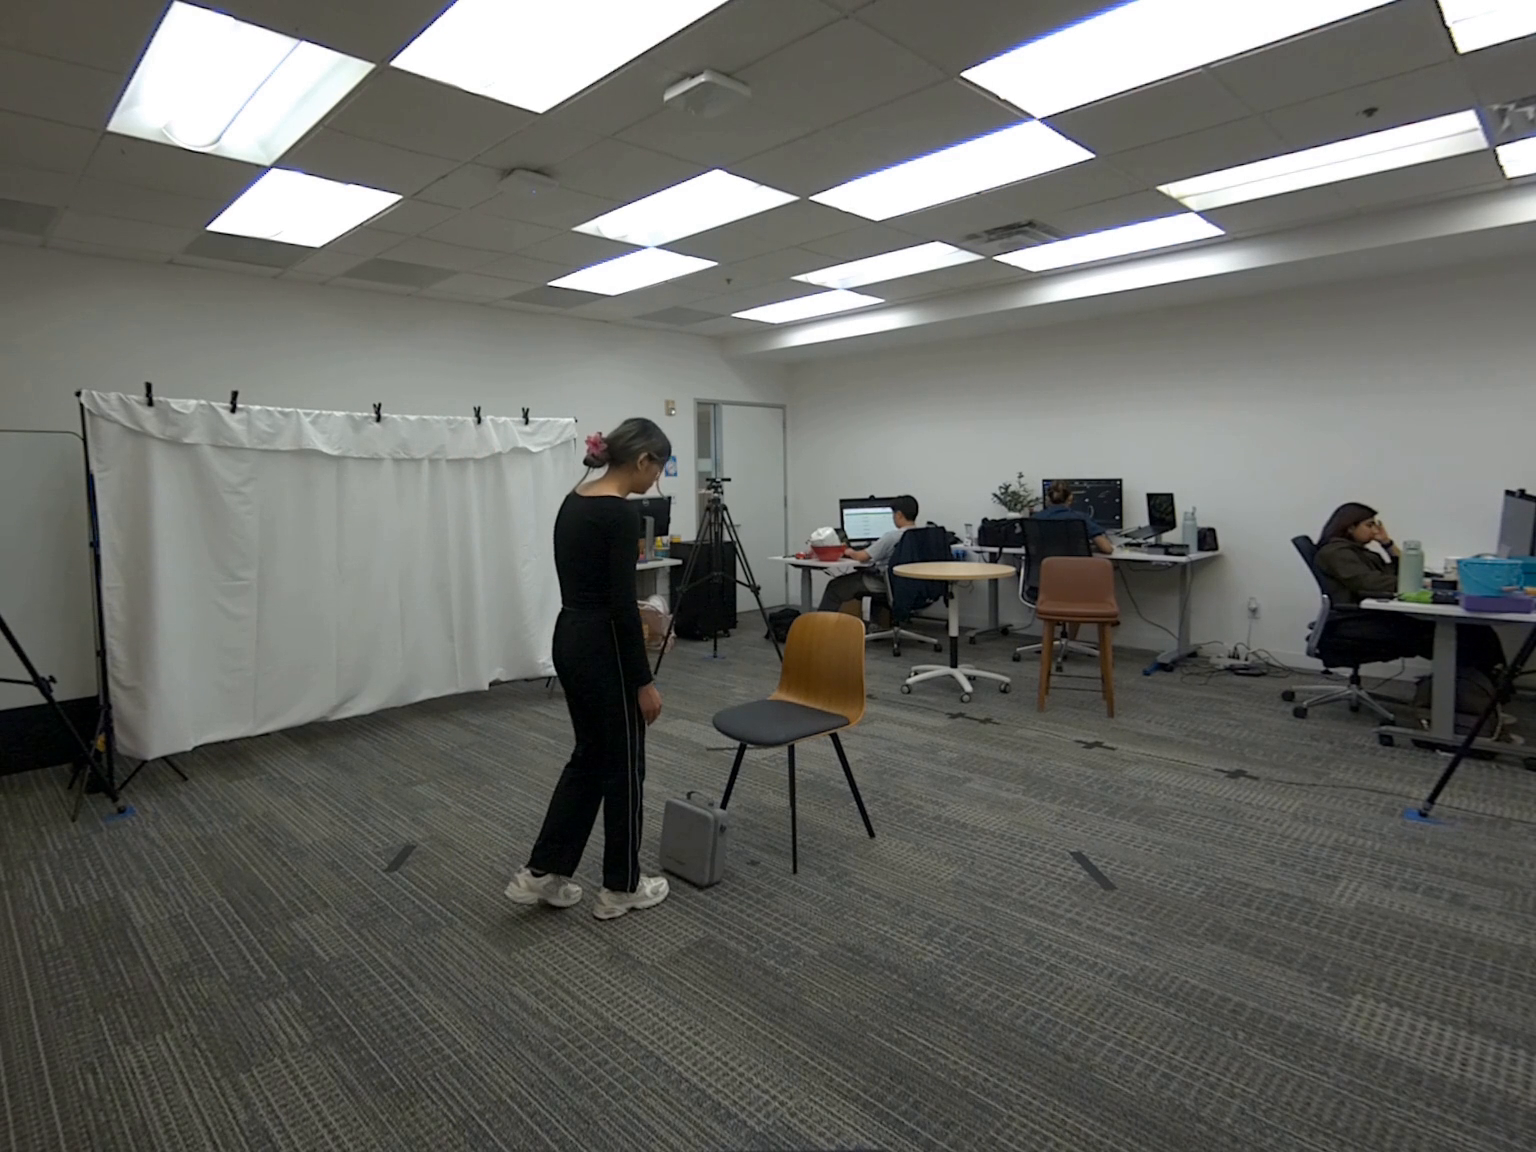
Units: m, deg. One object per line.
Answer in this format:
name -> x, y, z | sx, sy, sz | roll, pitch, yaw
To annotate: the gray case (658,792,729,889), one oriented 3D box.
gray case -> -0.261, 0.925, 3.017 | 0.101, 0.261, 0.265 | 9, -2, -45
